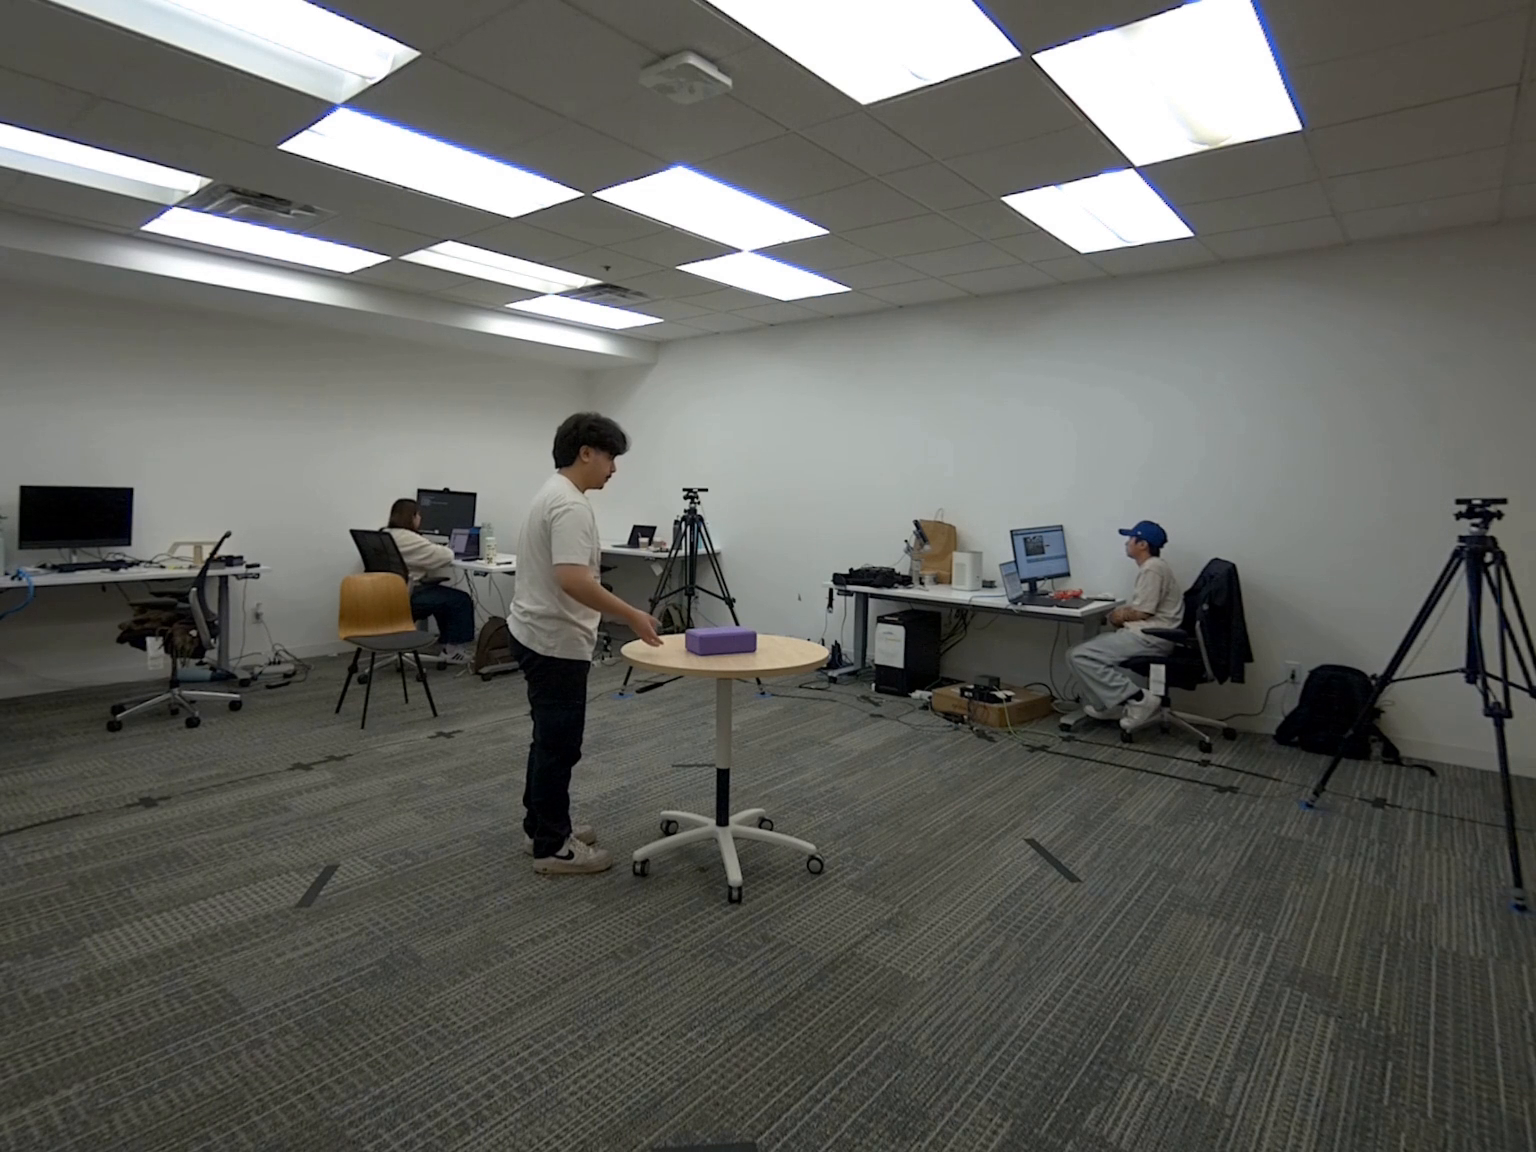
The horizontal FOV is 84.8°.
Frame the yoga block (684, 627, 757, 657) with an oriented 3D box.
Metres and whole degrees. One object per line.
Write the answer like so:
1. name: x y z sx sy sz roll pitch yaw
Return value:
1. yoga block: -0.182 0.236 3.105 0.224 0.076 0.153 -2 5 -24
